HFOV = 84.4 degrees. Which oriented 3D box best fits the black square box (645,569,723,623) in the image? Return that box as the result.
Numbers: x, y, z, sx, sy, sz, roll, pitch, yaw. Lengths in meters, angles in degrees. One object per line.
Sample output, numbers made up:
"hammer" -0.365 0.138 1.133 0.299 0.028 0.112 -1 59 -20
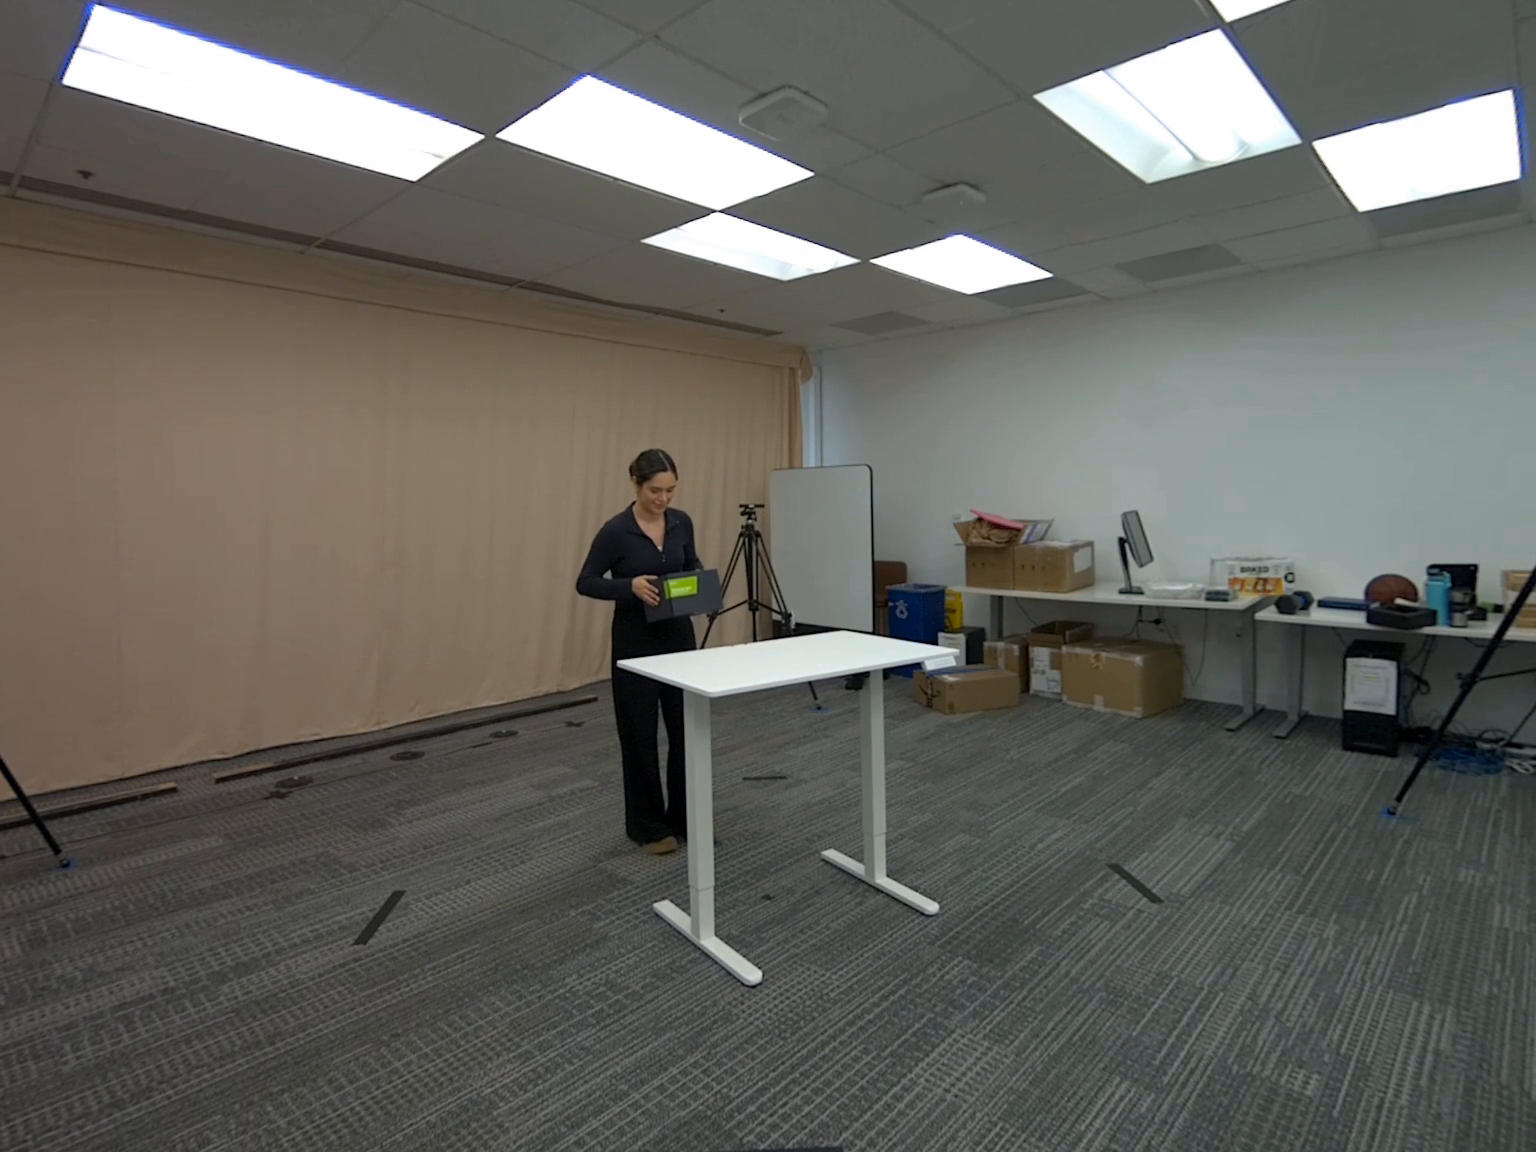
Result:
"black square box" -0.321 0.078 3.223 0.222 0.157 0.222 -6 -6 -34
